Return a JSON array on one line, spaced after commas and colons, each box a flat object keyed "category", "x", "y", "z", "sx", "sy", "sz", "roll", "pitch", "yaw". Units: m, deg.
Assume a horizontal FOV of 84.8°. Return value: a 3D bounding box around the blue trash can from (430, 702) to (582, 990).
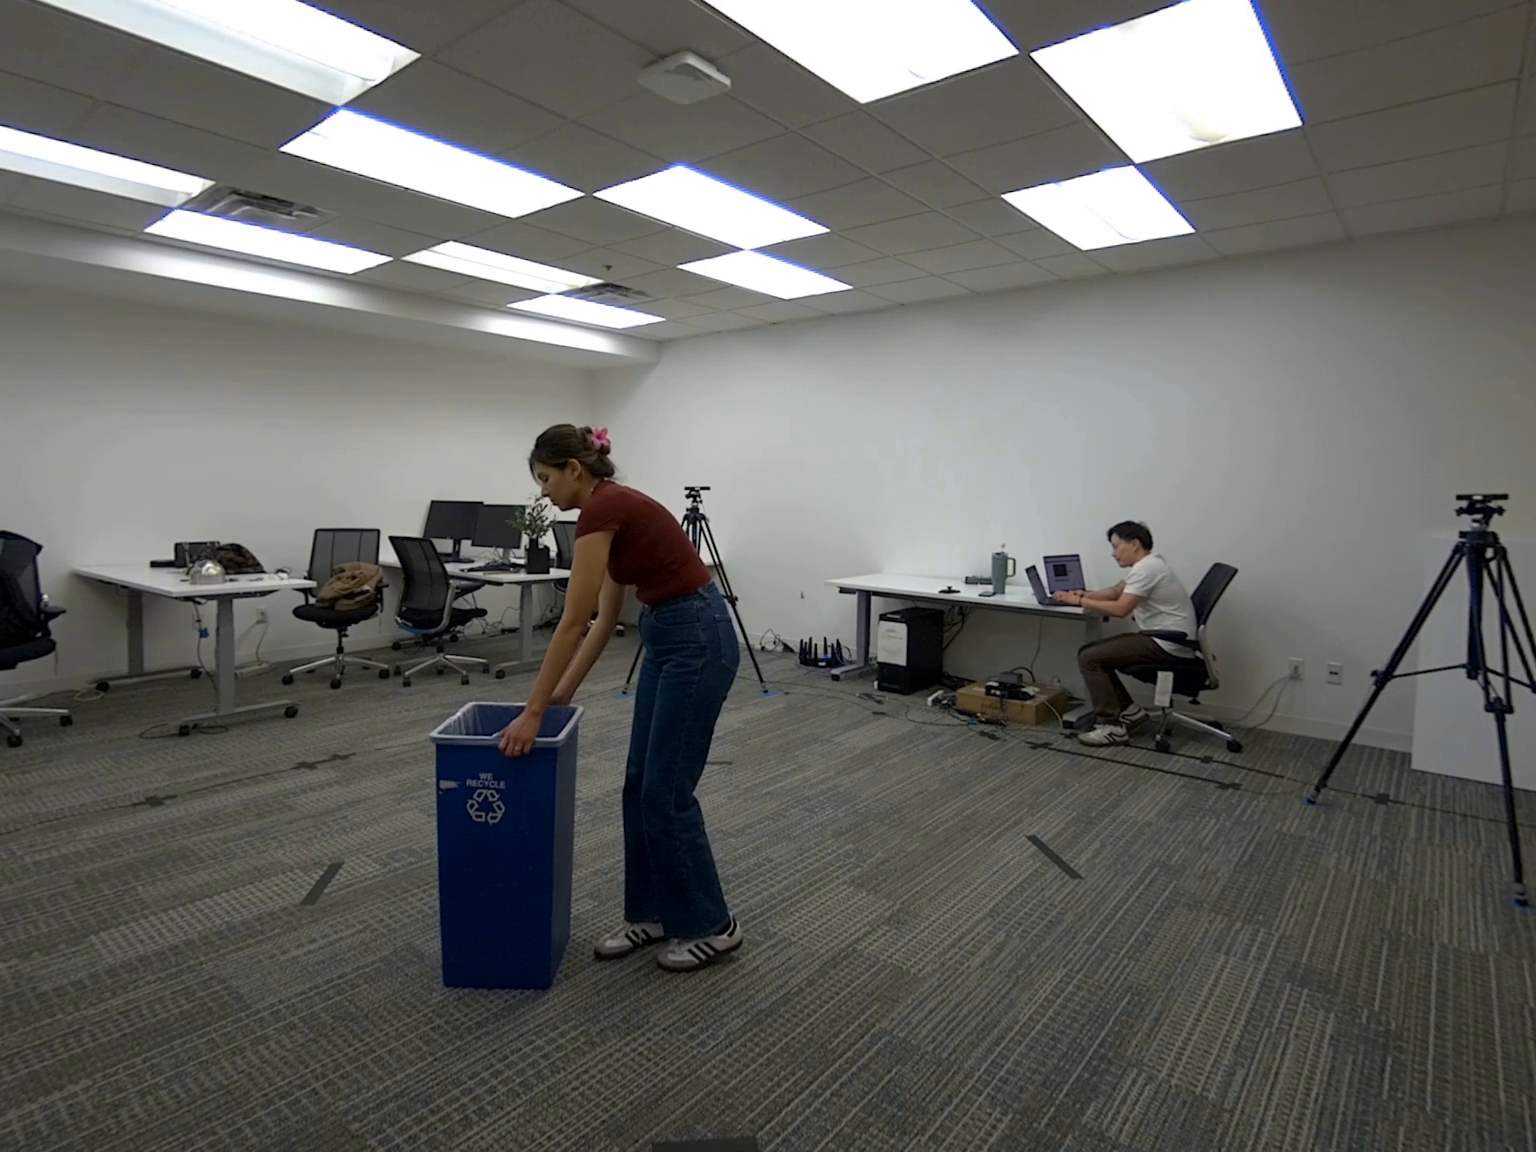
[{"category": "blue trash can", "x": -0.754, "y": 0.769, "z": 2.480, "sx": 0.374, "sy": 0.711, "sz": 0.379, "roll": 1, "pitch": 3, "yaw": 0}]
